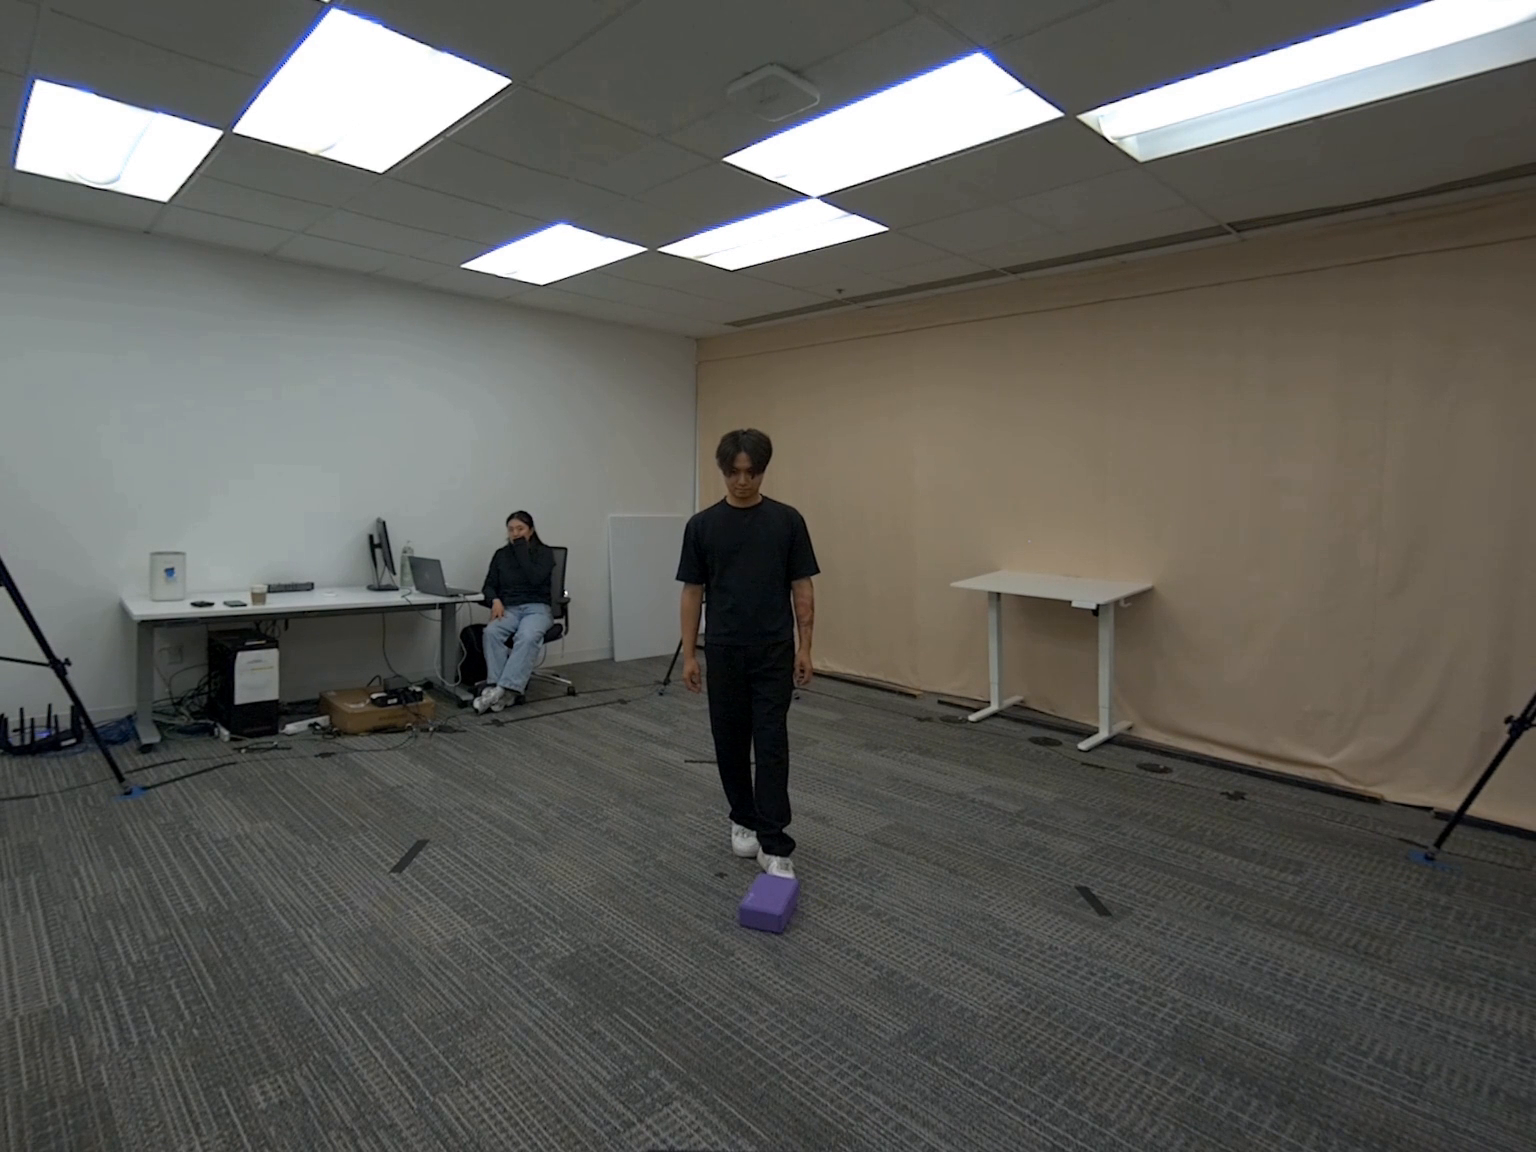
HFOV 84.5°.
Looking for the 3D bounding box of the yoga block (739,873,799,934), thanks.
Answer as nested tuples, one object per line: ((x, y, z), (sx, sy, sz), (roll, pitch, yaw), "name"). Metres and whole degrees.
((-0.005, 1.091, 2.803), (0.151, 0.076, 0.227), (4, 9, 17), "yoga block")
